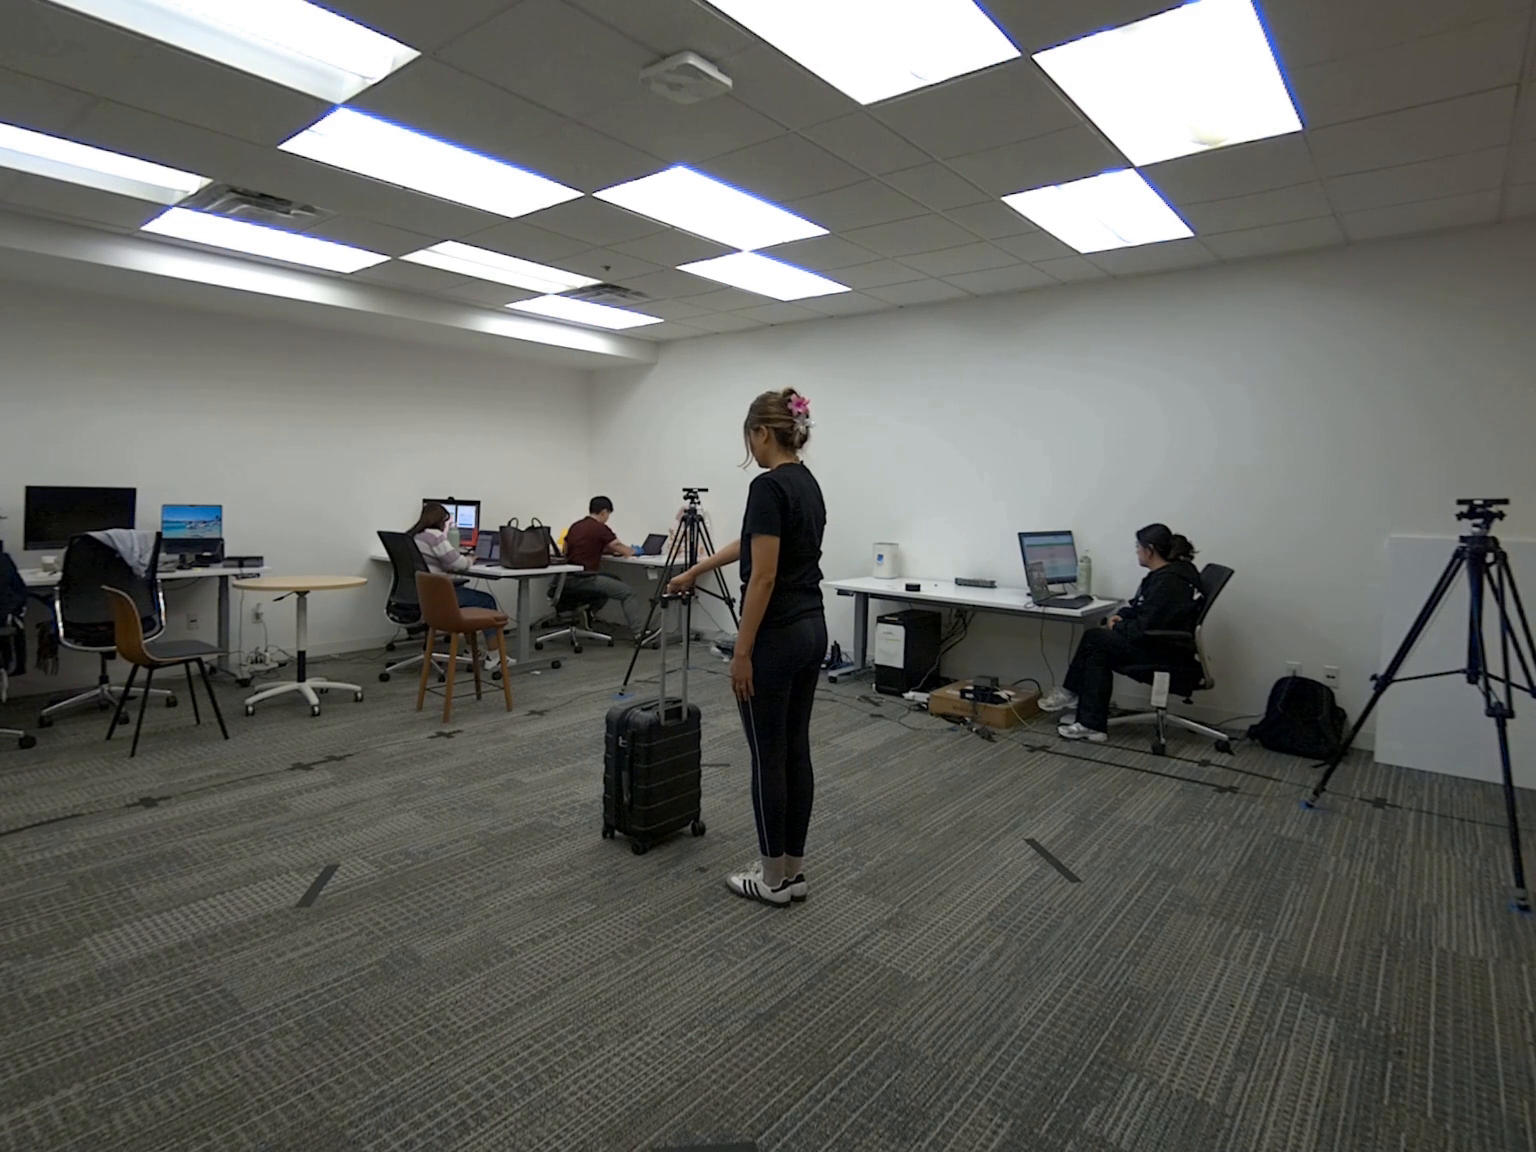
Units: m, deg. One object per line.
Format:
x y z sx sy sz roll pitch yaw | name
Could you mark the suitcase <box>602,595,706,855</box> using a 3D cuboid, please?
-0.469 0.564 3.383 0.265 0.977 0.372 2 3 41 | suitcase
